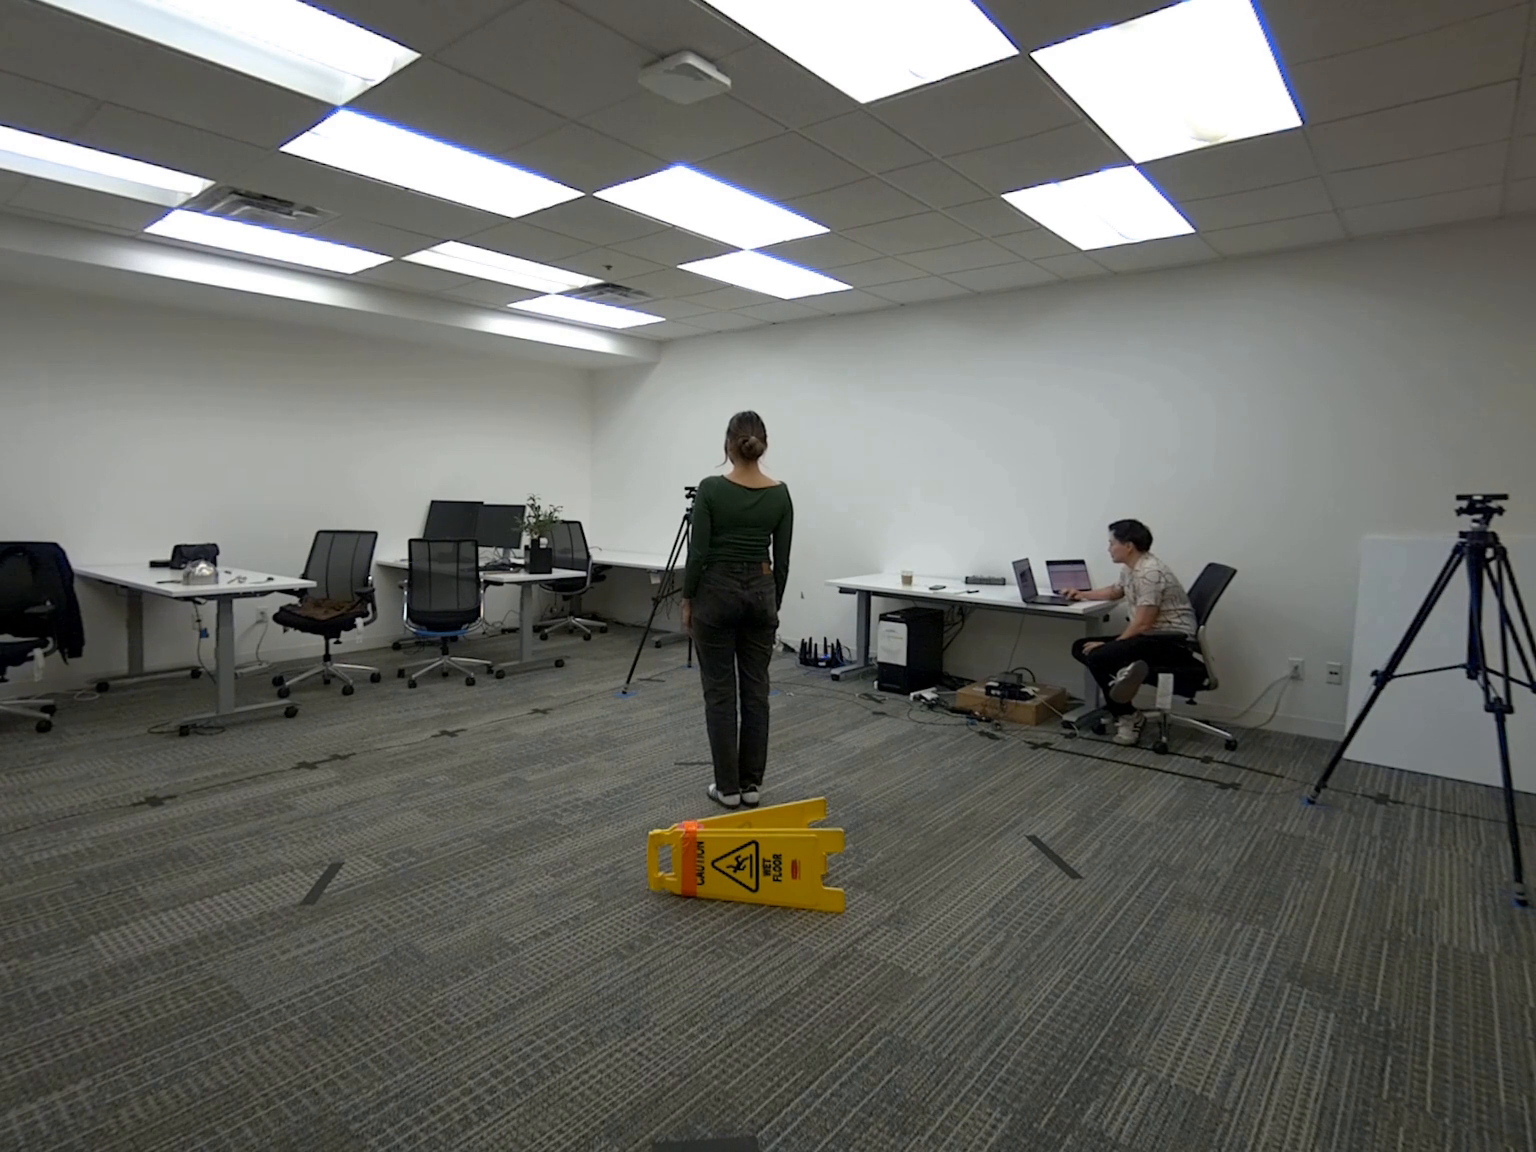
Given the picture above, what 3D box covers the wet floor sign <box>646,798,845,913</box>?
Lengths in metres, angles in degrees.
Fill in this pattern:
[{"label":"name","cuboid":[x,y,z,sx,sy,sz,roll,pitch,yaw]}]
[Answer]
[{"label":"wet floor sign","cuboid":[-0.101,0.953,2.909,0.643,0.281,0.293,-2,5,-5]}]
